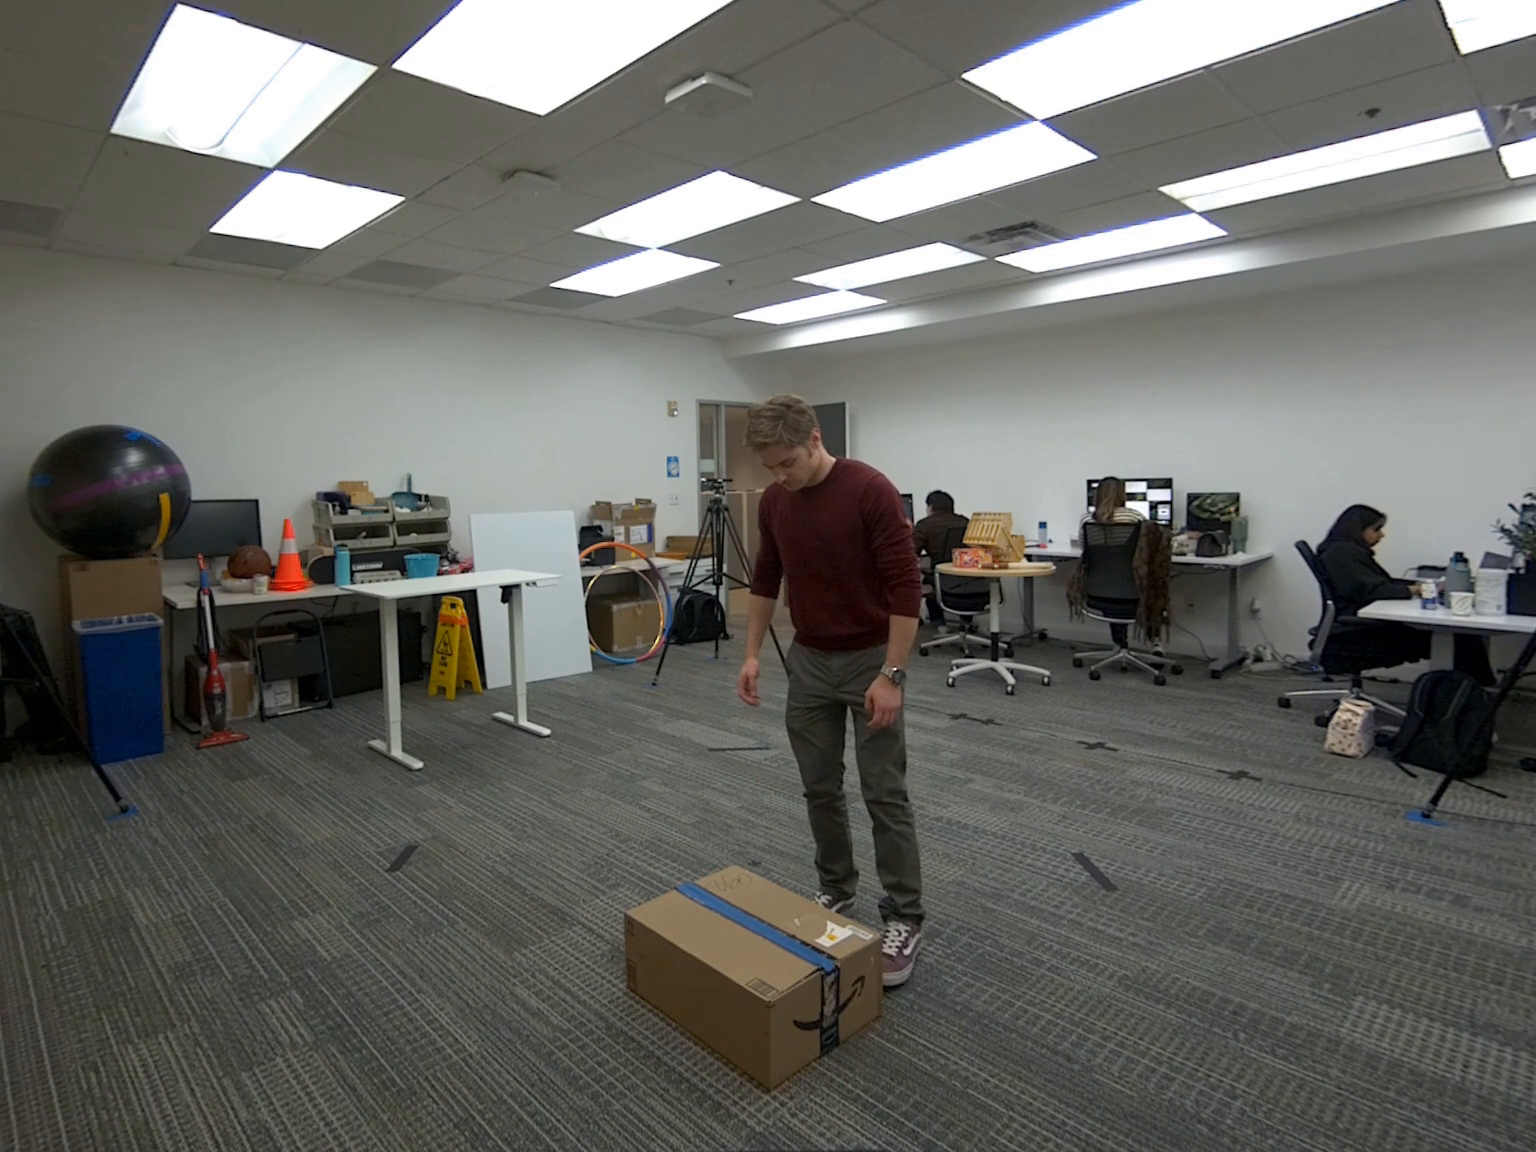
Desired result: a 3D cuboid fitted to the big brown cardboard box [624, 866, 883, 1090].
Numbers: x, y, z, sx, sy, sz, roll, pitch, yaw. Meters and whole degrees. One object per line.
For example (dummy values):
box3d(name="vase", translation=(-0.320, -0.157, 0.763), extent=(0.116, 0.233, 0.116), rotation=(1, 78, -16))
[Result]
box3d(name="big brown cardboard box", translation=(-0.044, 1.025, 2.287), extent=(0.407, 0.232, 0.607), rotation=(-7, 9, -43))
